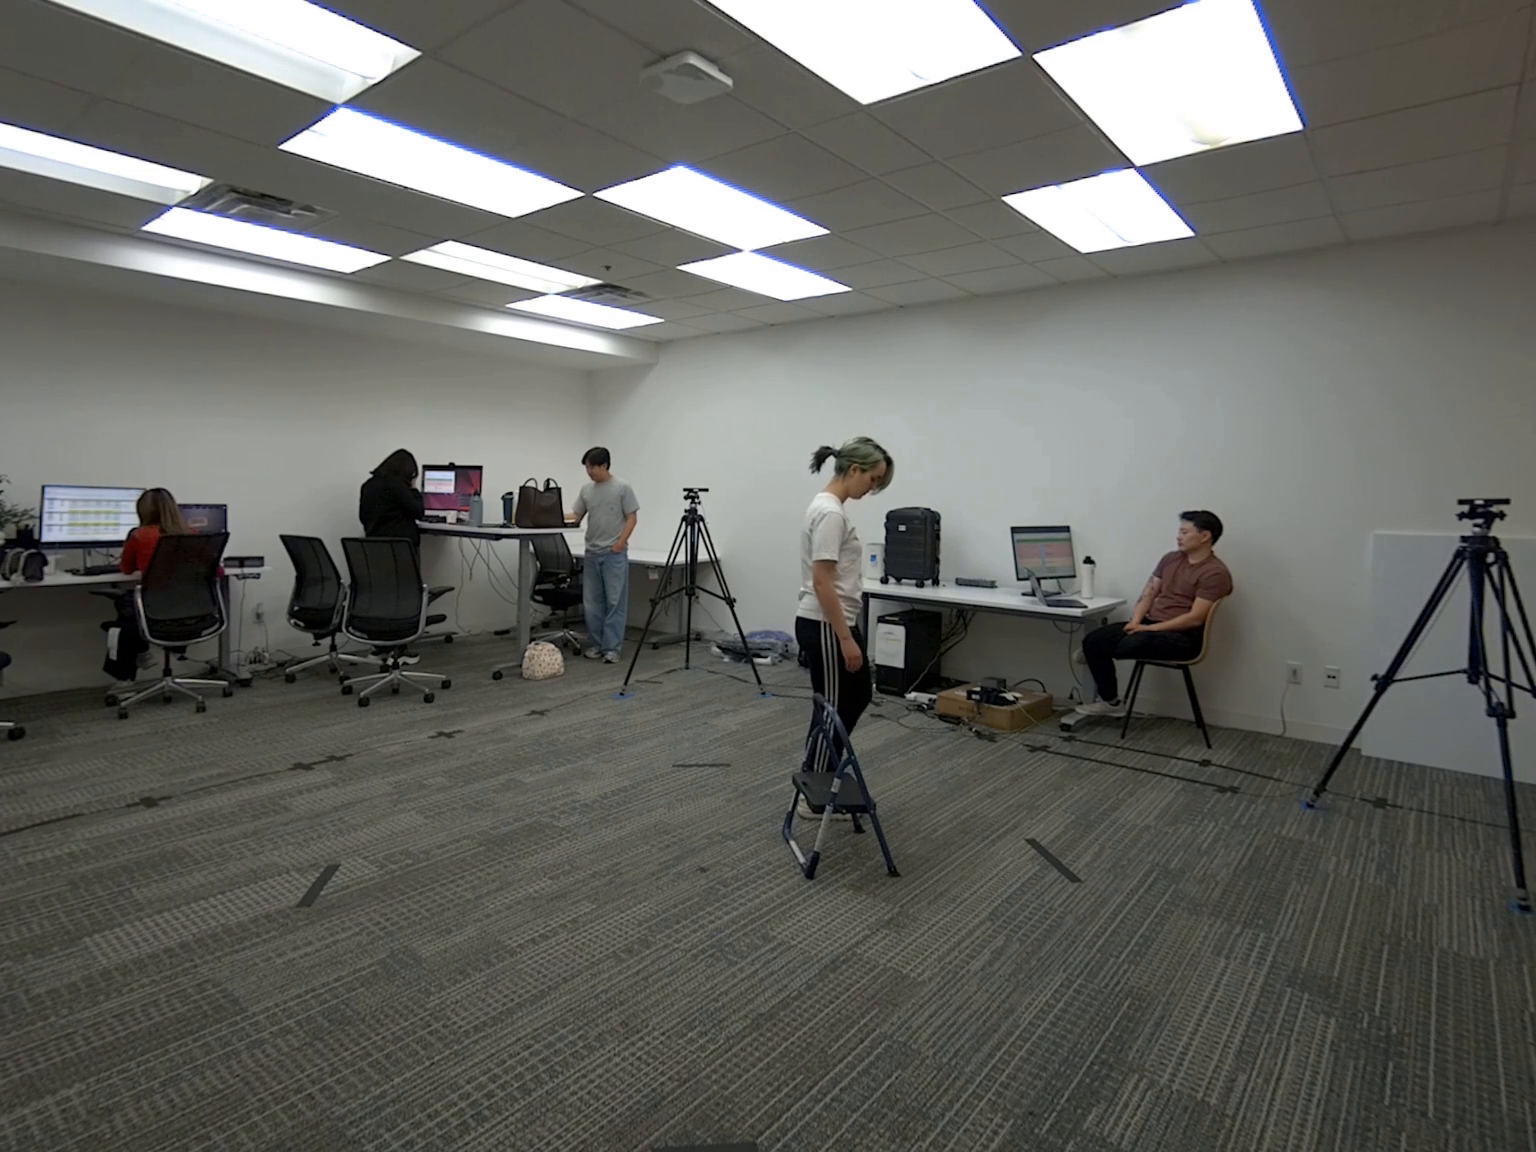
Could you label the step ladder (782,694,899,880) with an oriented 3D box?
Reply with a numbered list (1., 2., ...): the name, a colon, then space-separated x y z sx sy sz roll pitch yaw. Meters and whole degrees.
1. step ladder: 0.266 0.764 3.255 0.345 0.605 0.437 1 3 -12
